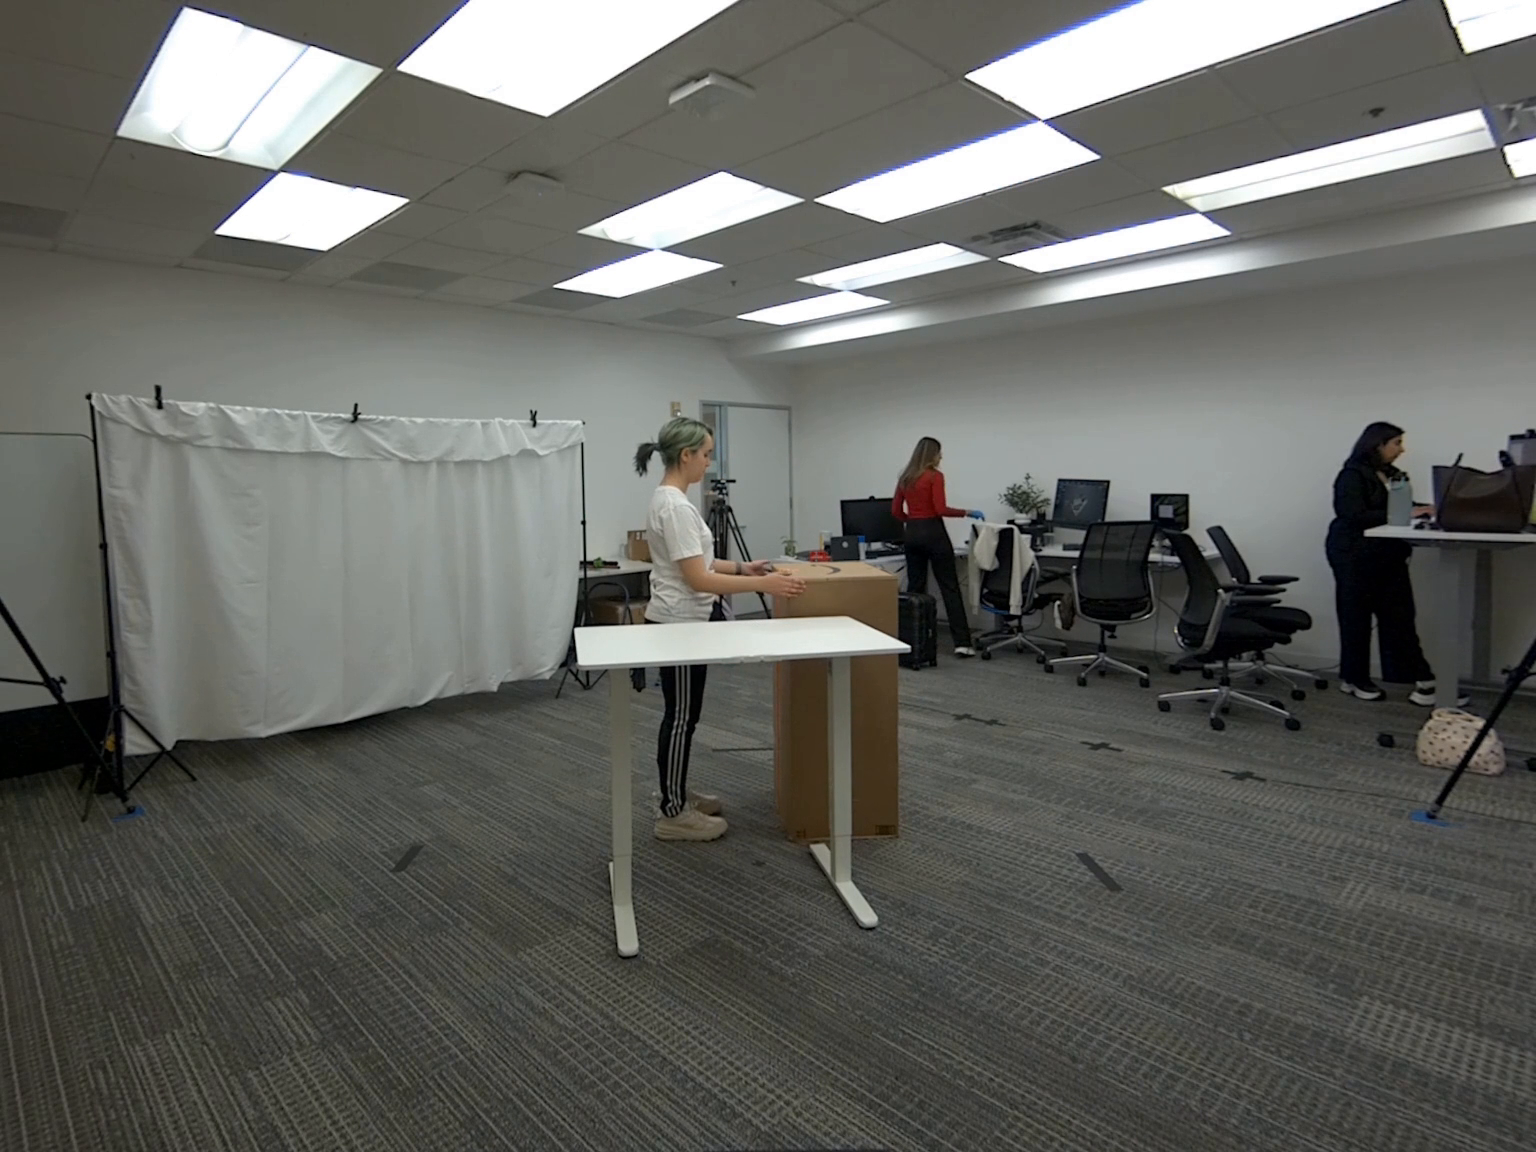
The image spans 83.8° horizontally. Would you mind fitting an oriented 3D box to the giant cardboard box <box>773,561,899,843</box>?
[{"bbox_3d":[0.259,0.485,3.551,0.444,1.023,0.589,0,5,-6],"label":"giant cardboard box"}]
